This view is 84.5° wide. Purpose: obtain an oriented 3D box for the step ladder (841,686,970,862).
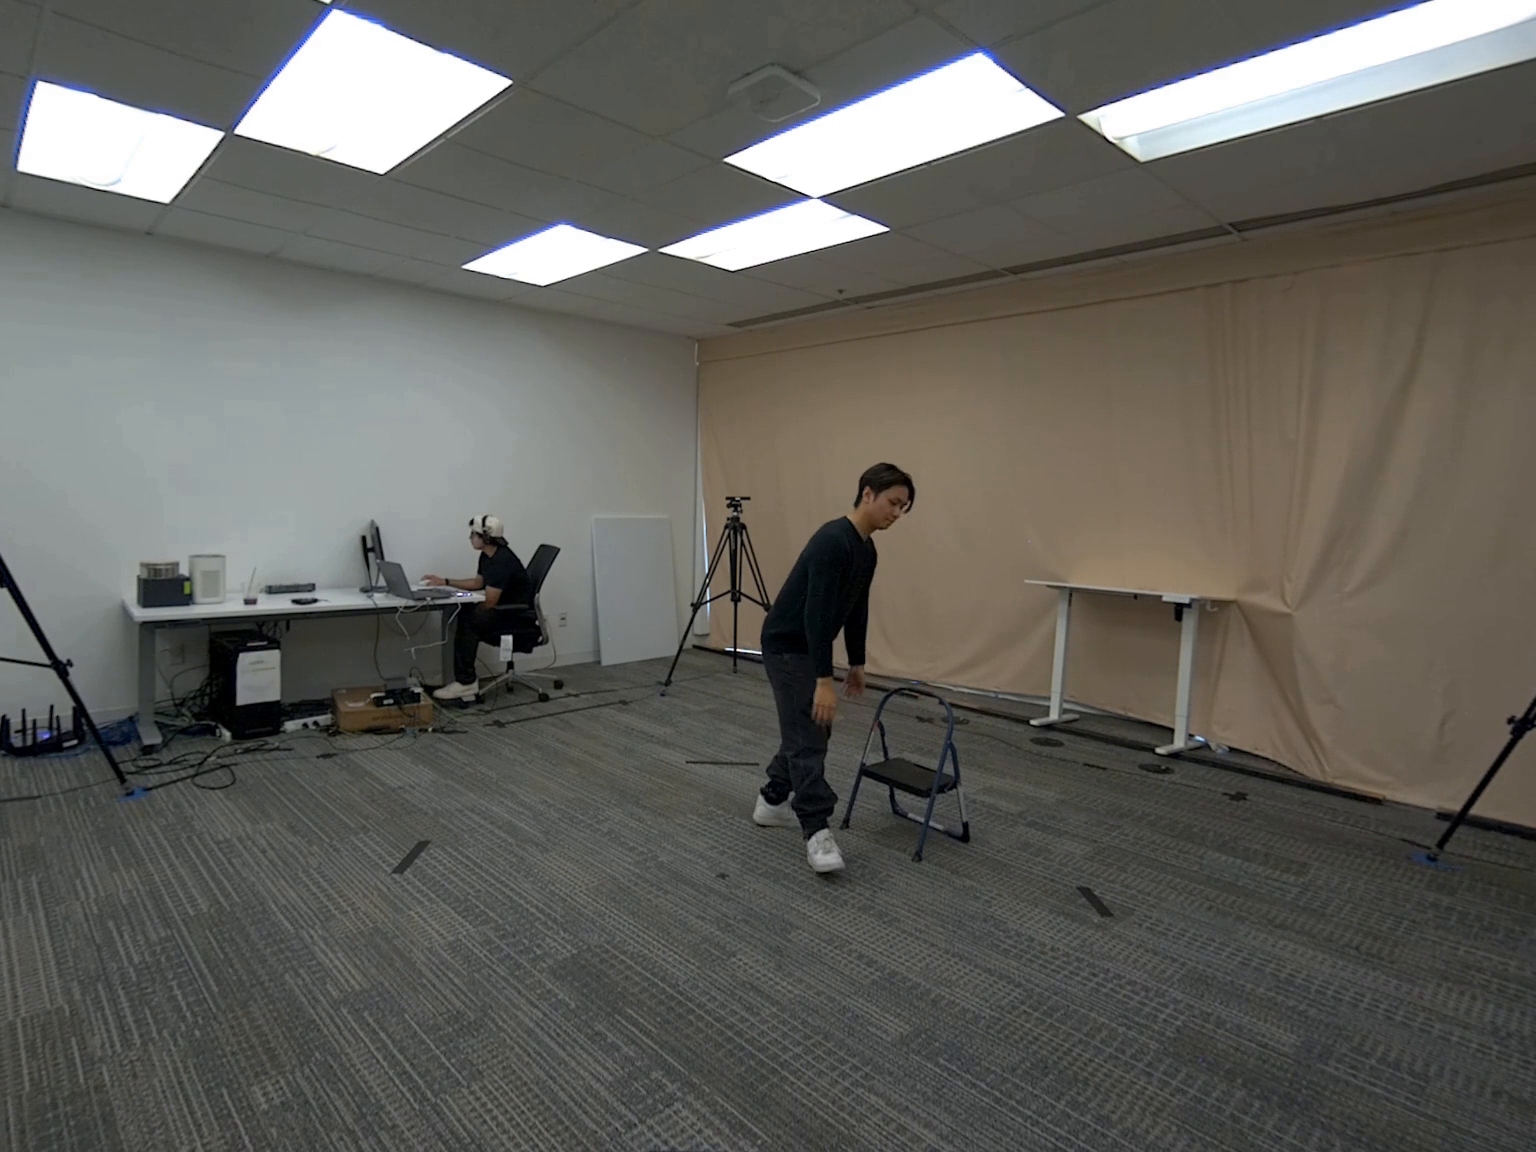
[{"bbox_3d":[0.574,0.785,3.521,0.341,0.604,0.442,-1,5,-39],"label":"step ladder"}]
